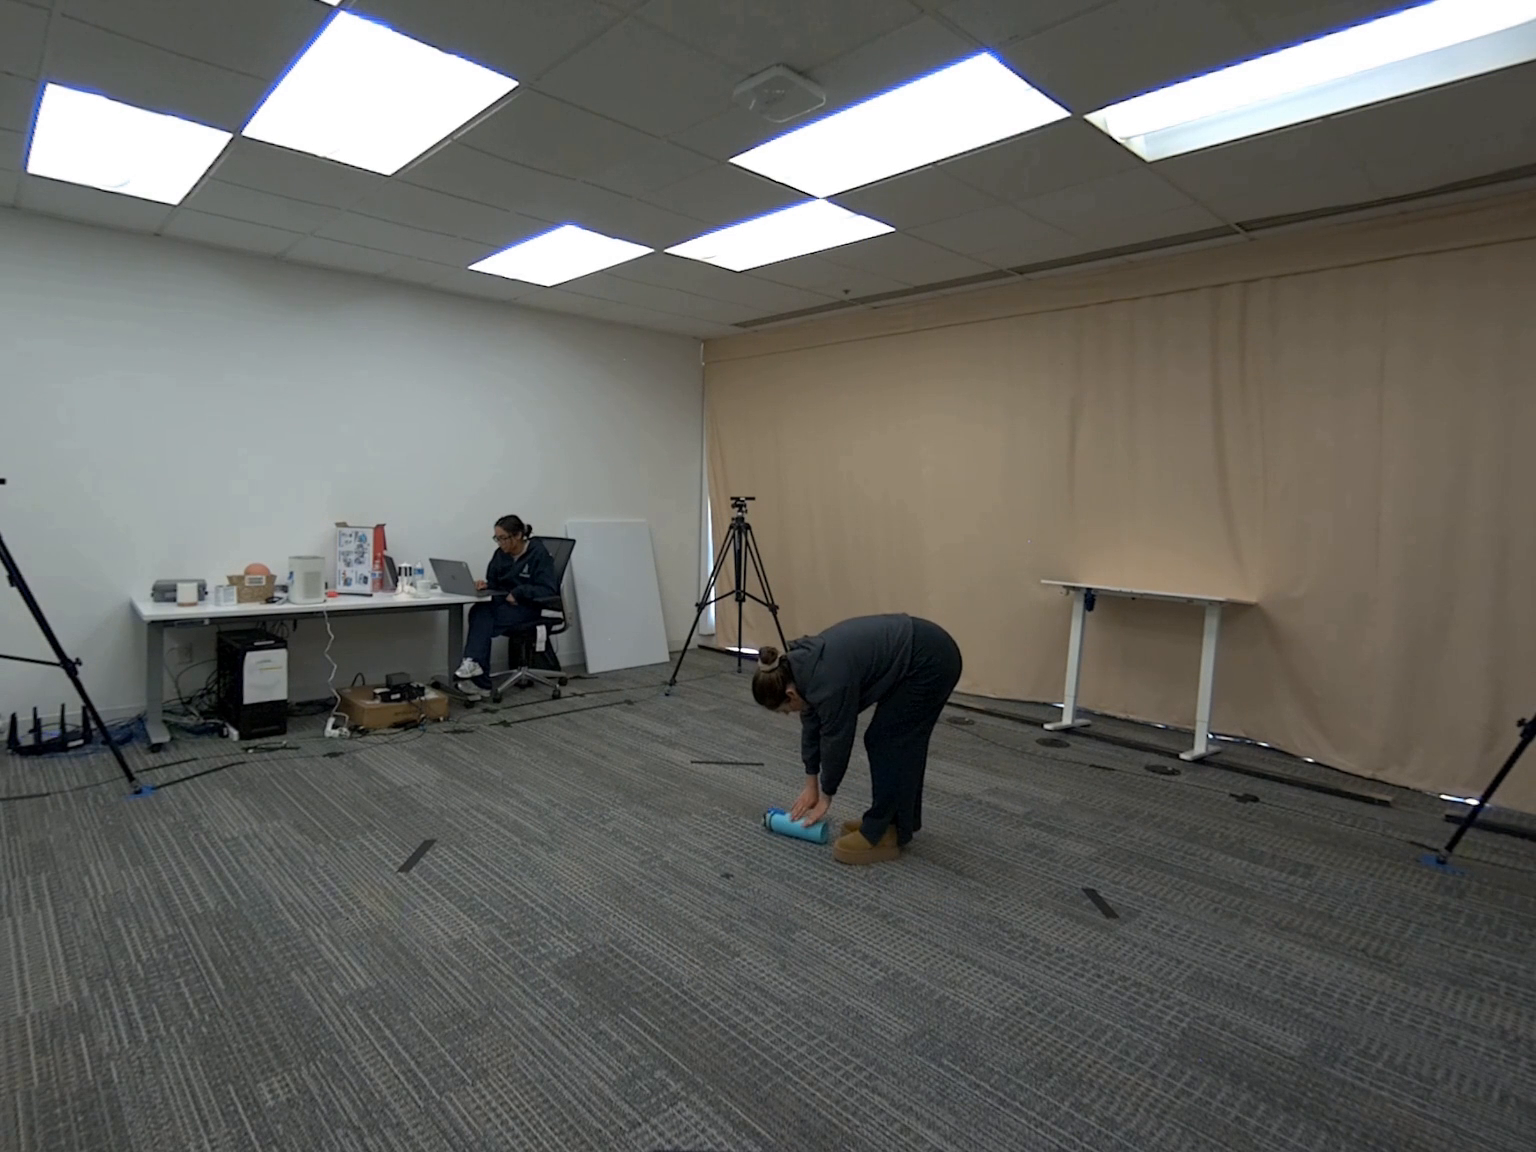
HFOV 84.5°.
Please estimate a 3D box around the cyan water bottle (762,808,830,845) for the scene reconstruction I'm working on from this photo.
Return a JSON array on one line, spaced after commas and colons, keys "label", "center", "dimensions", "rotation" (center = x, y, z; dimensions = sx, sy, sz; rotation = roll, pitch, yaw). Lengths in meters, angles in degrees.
[{"label": "cyan water bottle", "center": [0.100, 1.026, 3.510], "dimensions": [0.290, 0.092, 0.090], "rotation": [6, 6, 29]}]
